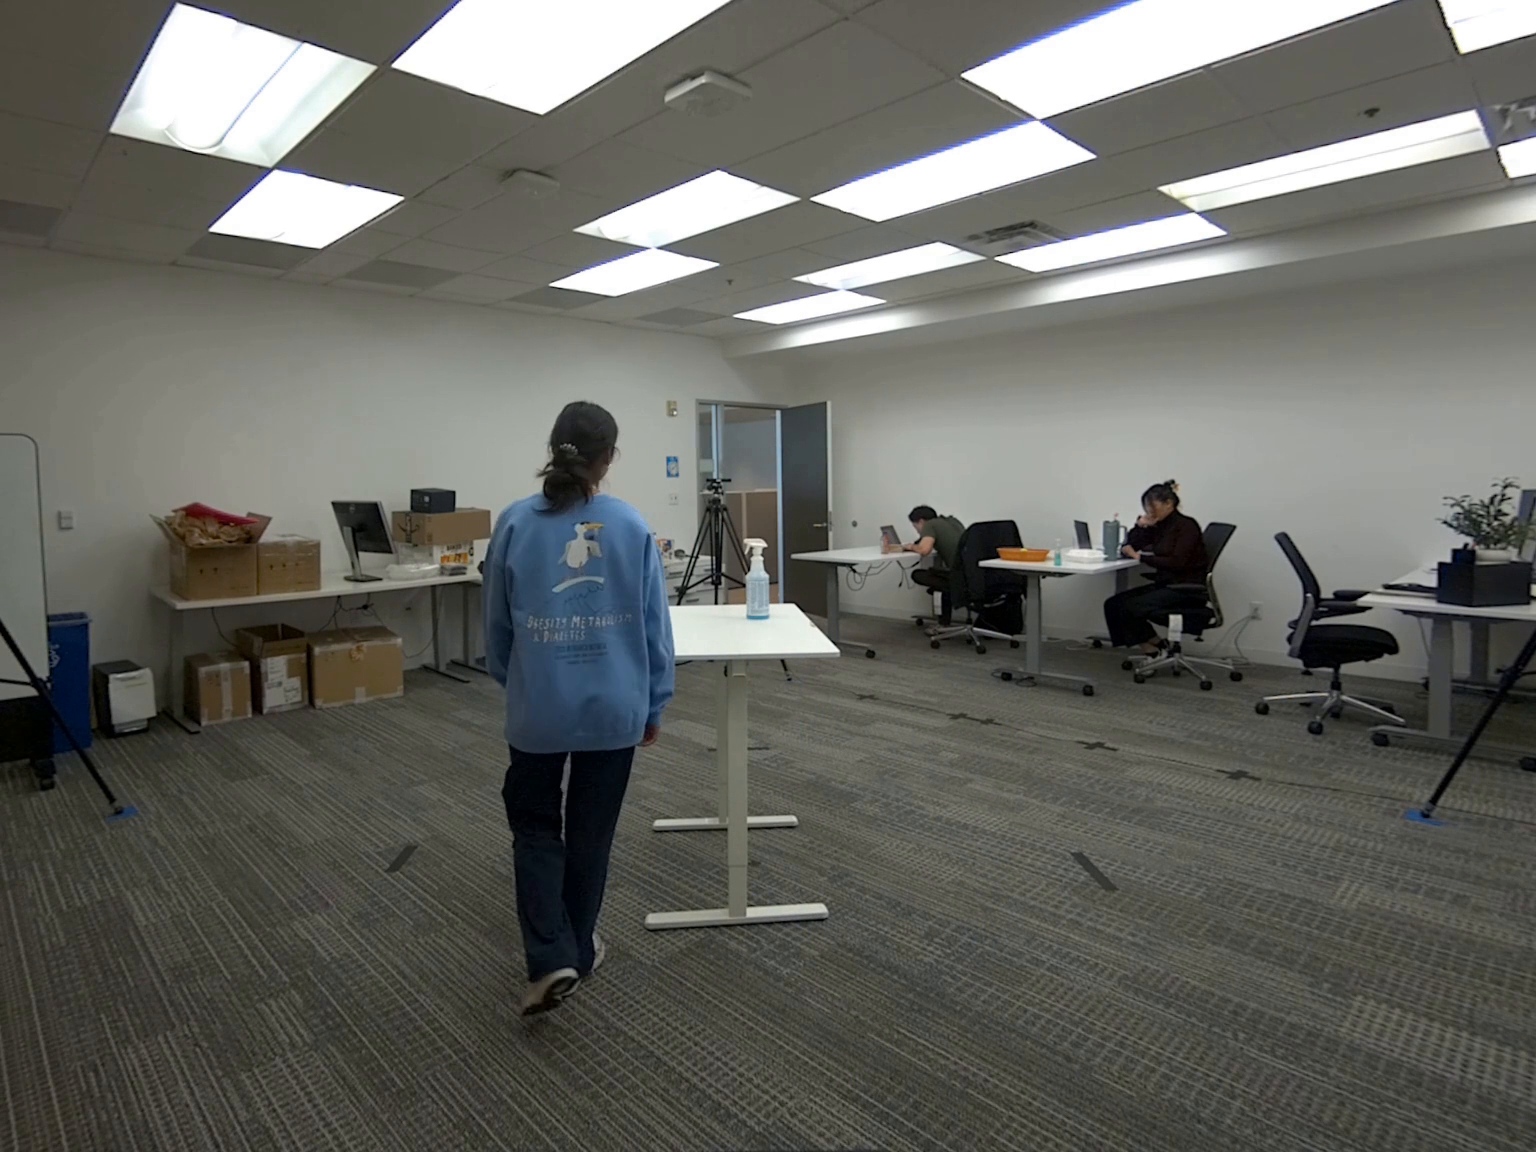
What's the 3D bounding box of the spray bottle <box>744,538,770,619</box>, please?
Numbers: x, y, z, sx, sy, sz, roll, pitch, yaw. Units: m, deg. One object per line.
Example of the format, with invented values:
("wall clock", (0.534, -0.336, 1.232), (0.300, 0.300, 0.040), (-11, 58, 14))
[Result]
("spray bottle", (-0.039, 0.012, 3.165), (0.090, 0.296, 0.087), (-1, 4, 3))
